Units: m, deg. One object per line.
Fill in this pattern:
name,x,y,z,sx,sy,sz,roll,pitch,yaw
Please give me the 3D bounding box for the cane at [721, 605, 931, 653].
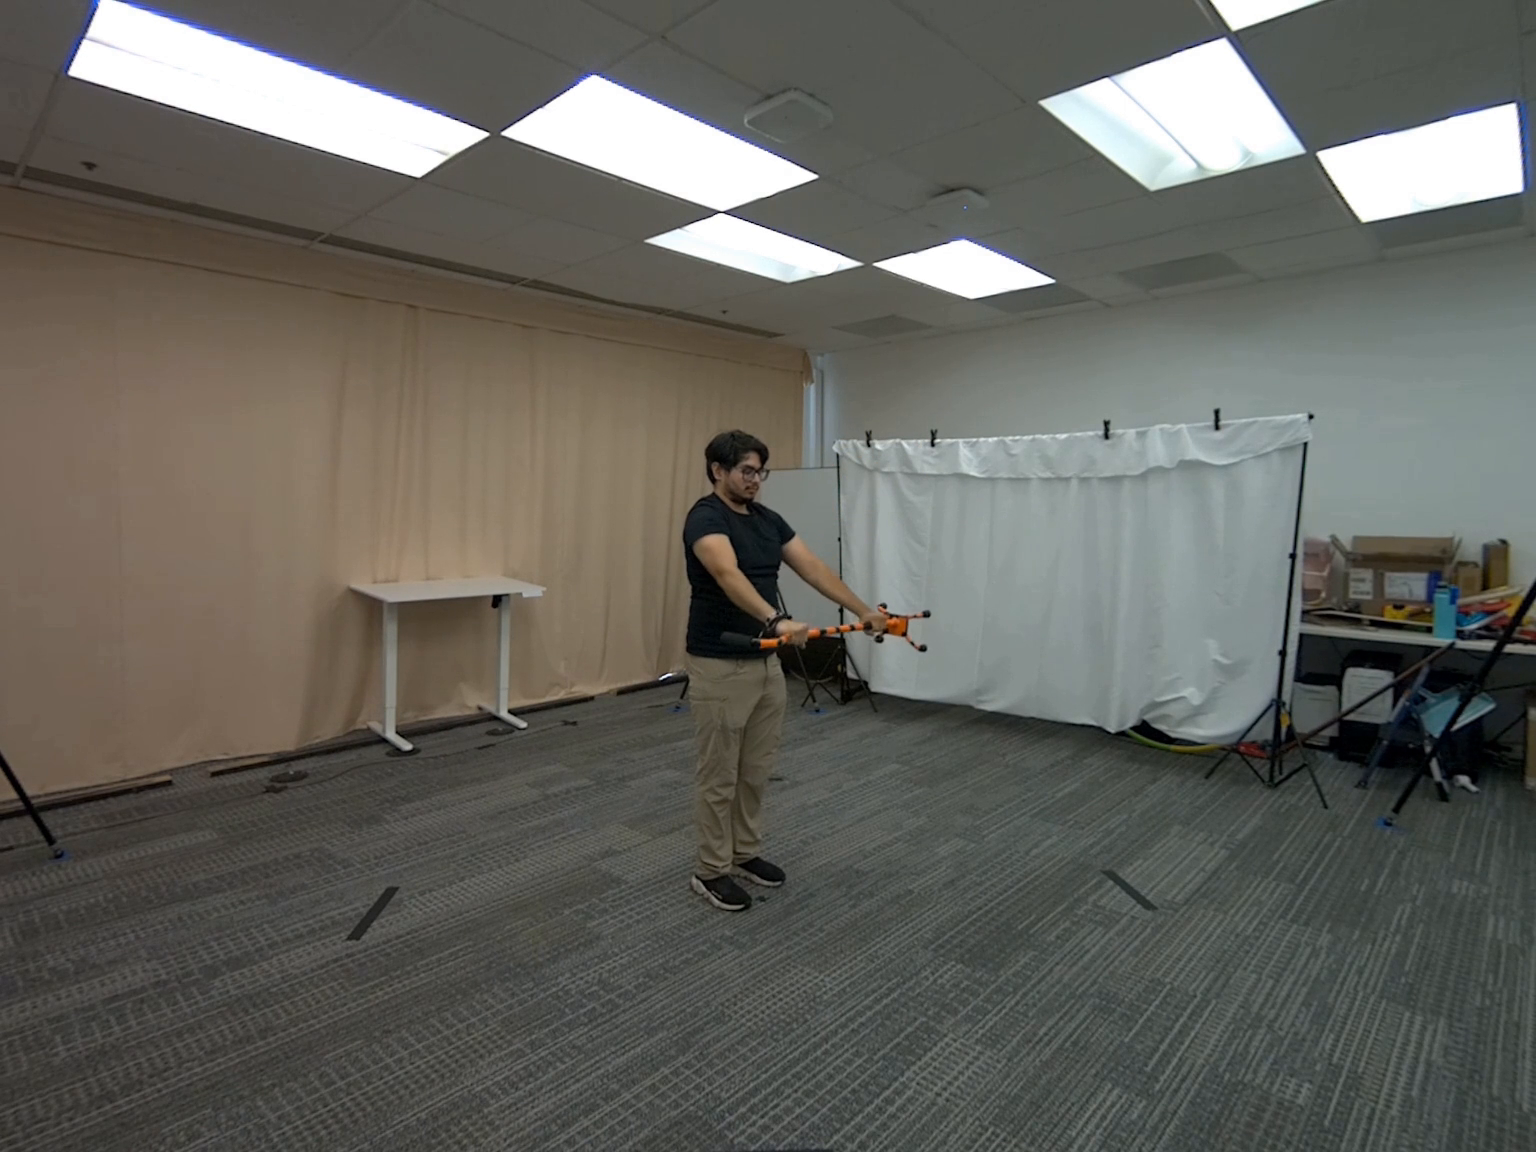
cane,0.212,0.187,2.712,0.213,0.151,0.879,8,5,40
